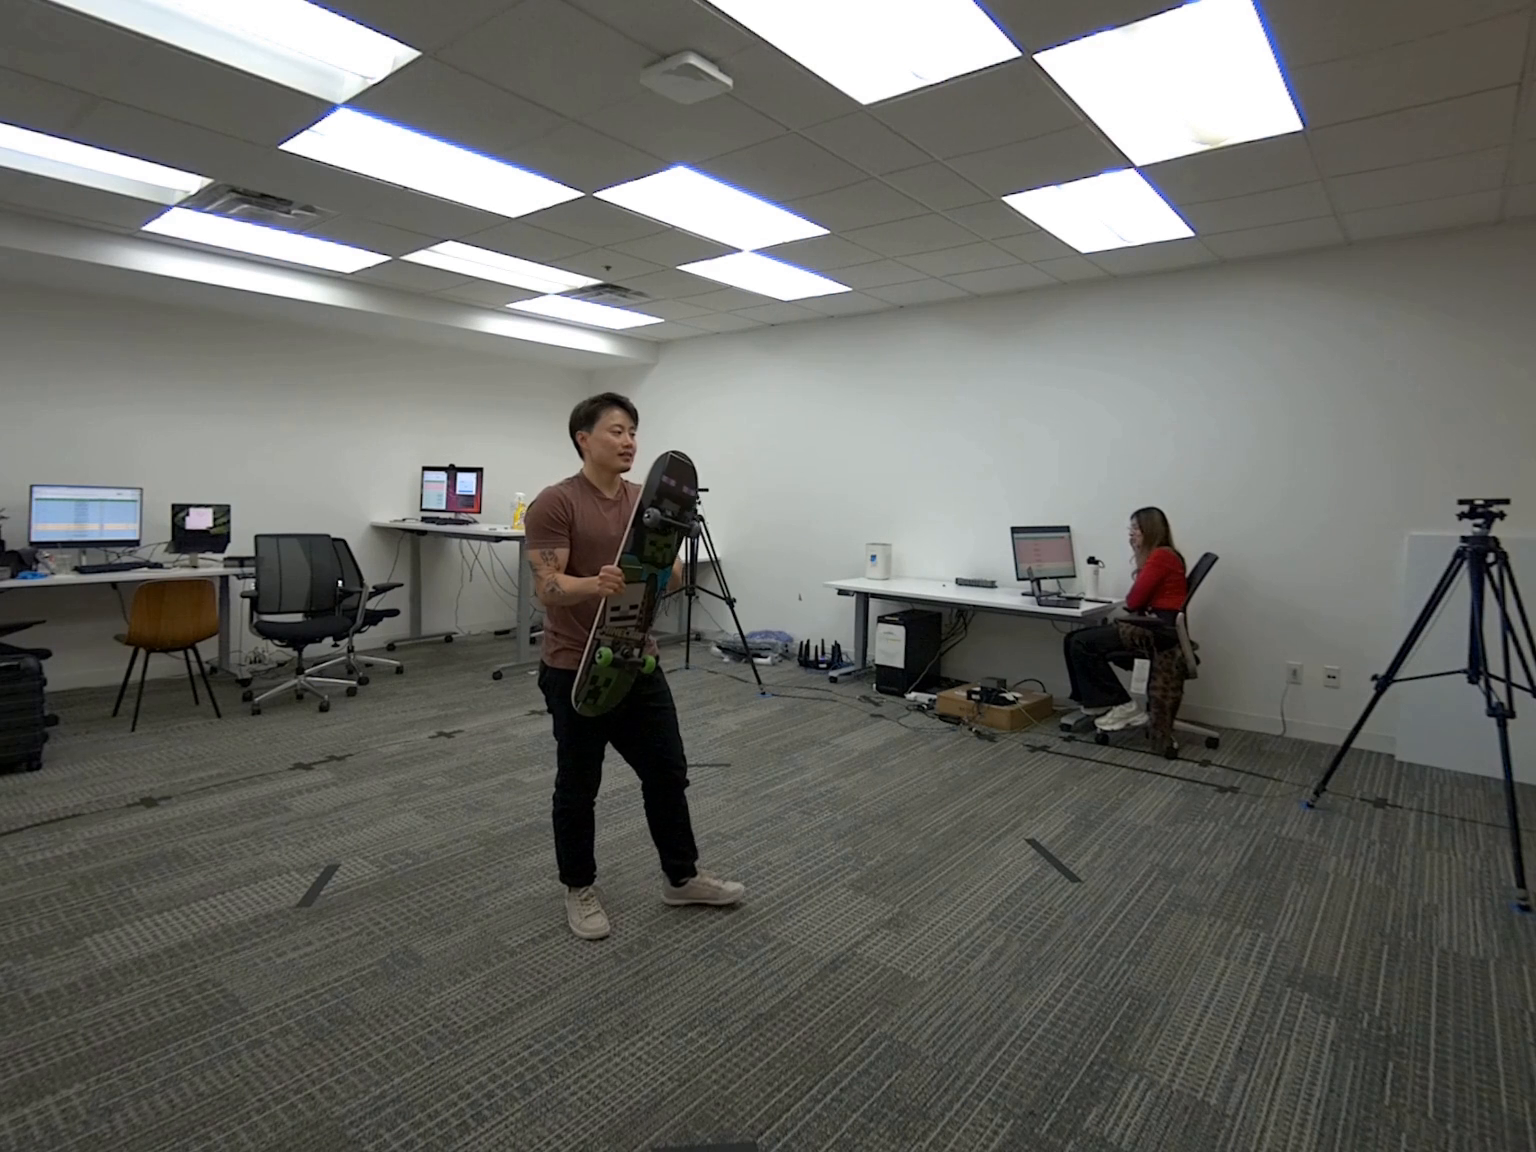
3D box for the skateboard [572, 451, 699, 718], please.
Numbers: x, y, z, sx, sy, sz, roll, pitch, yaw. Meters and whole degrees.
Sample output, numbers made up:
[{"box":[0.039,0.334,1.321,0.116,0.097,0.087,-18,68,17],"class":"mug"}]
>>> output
[{"box":[-0.357,0.035,2.359,0.186,0.784,0.115,17,3,-43],"class":"skateboard"}]
